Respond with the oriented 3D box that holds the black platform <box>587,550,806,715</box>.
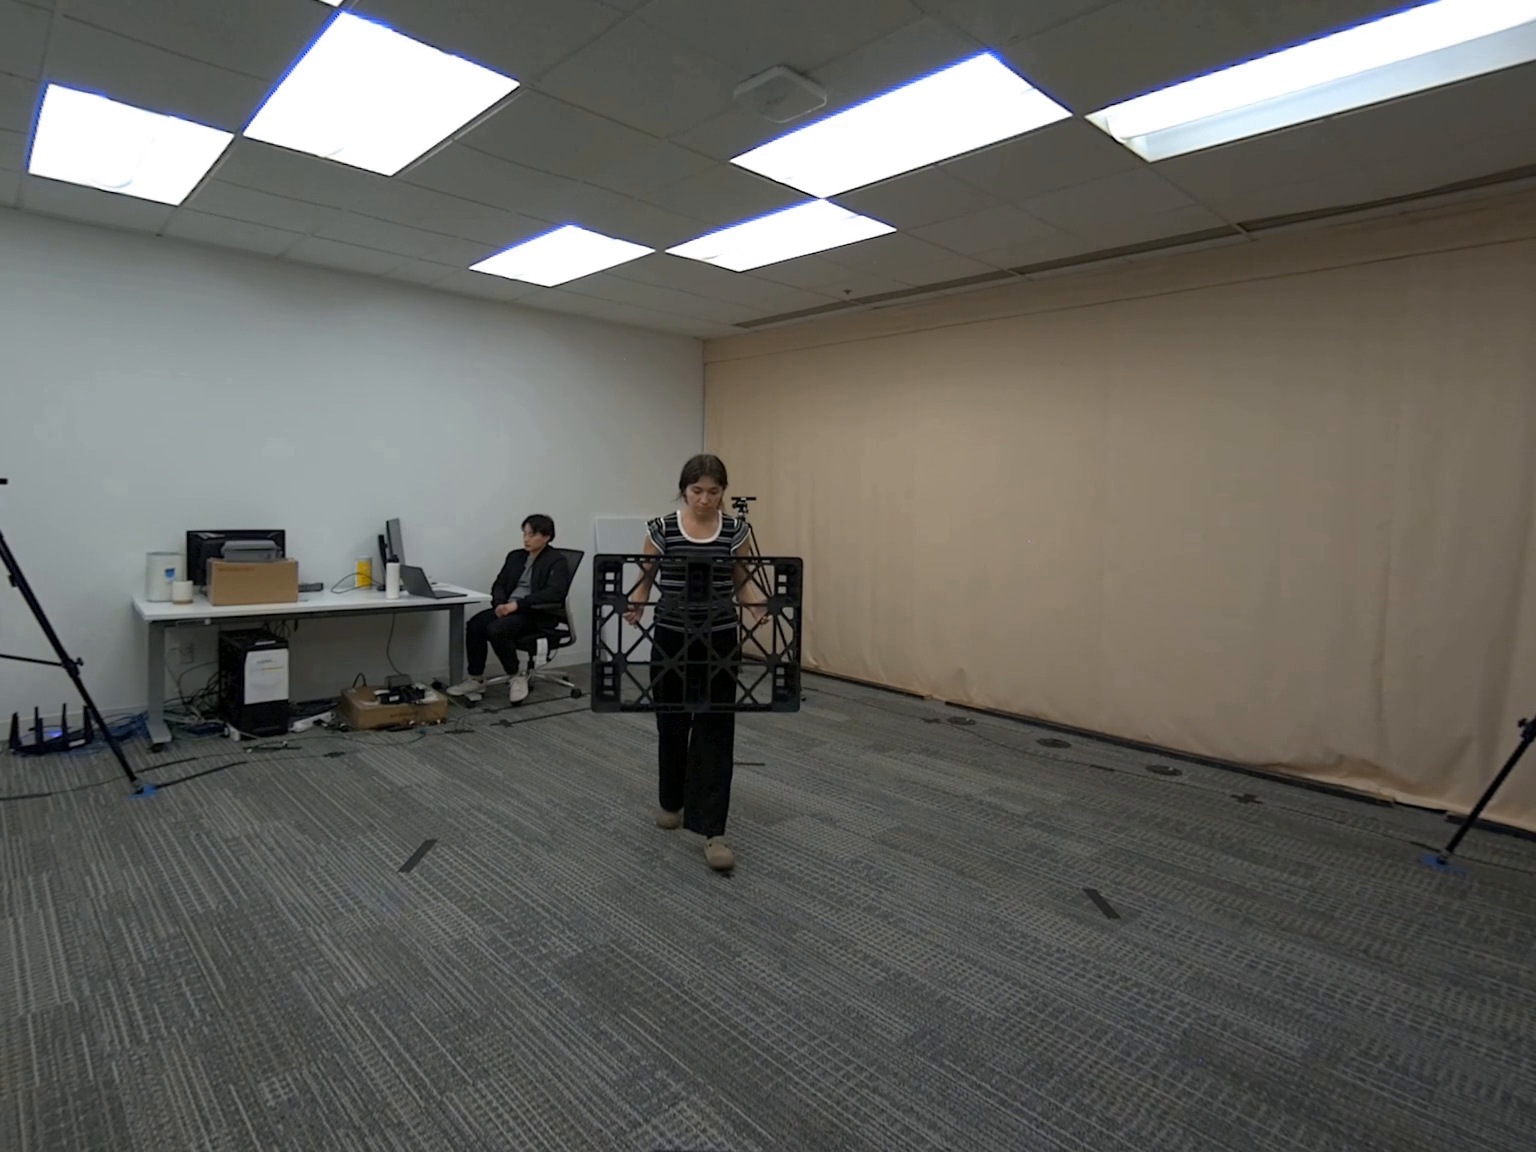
[{"bbox_3d":[-0.275,0.213,3.246,0.801,0.605,0.144,1,0,-6],"label":"black platform"}]
